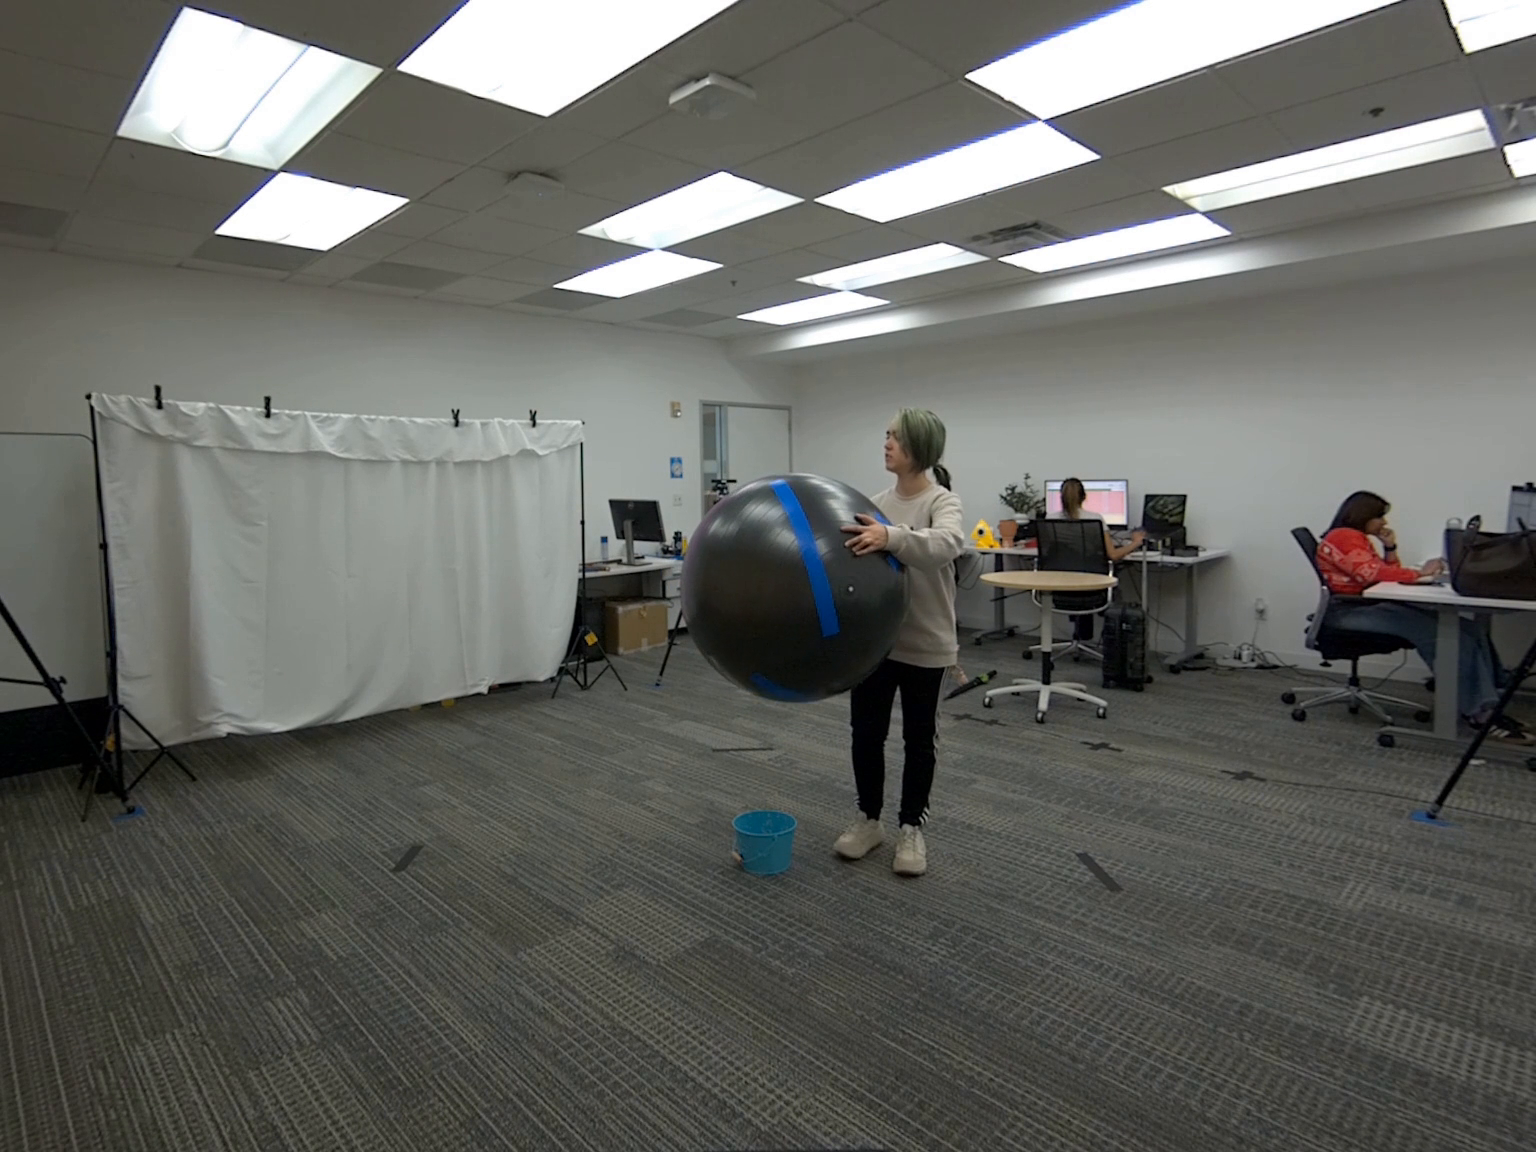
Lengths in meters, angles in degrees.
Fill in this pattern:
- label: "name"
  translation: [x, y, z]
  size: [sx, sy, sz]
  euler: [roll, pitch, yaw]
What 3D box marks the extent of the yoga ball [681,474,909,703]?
- label: "yoga ball"
  translation: [0.083, 0.041, 2.841]
  size: [0.757, 0.755, 0.762]
  euler: [-1, 5, -2]
